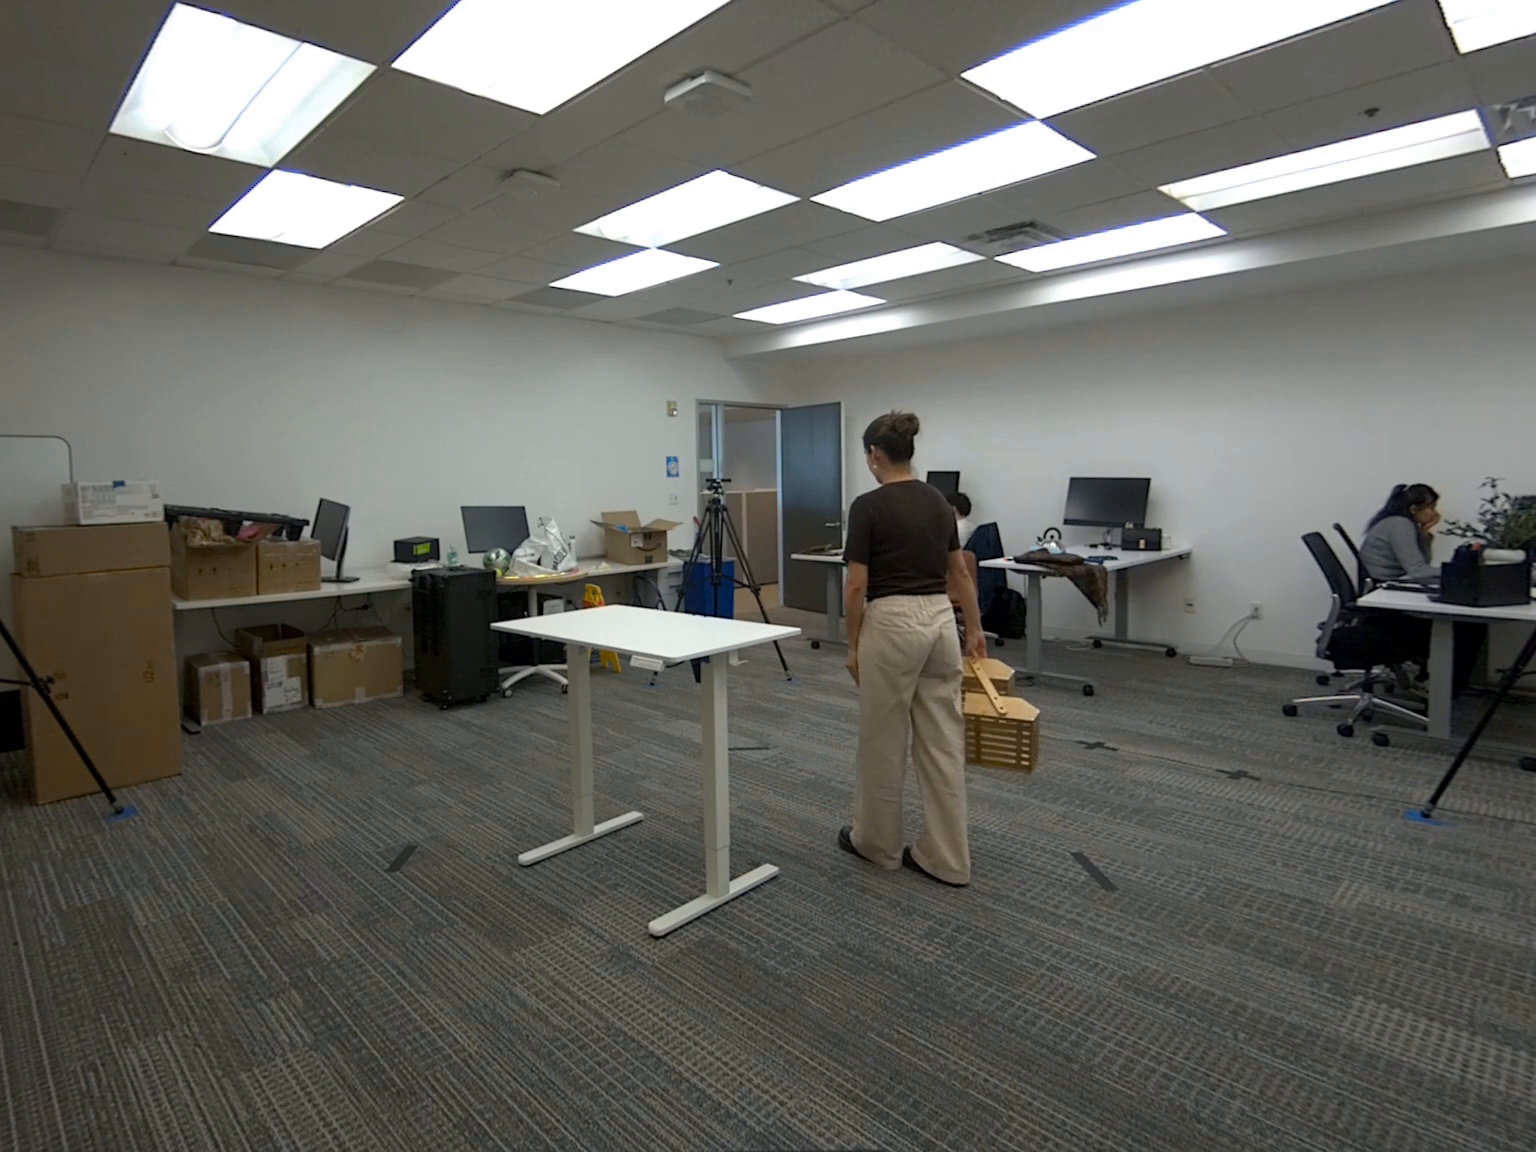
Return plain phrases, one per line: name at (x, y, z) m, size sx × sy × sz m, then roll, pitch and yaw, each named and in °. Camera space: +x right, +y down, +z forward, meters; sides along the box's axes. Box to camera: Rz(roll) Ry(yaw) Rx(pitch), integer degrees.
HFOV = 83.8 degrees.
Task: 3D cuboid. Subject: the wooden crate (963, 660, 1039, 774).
wooden crate at (0.826, 0.498, 3.135) m, size 0.308 × 0.314 × 0.277 m, roll 3°, pitch 43°, yaw 19°
